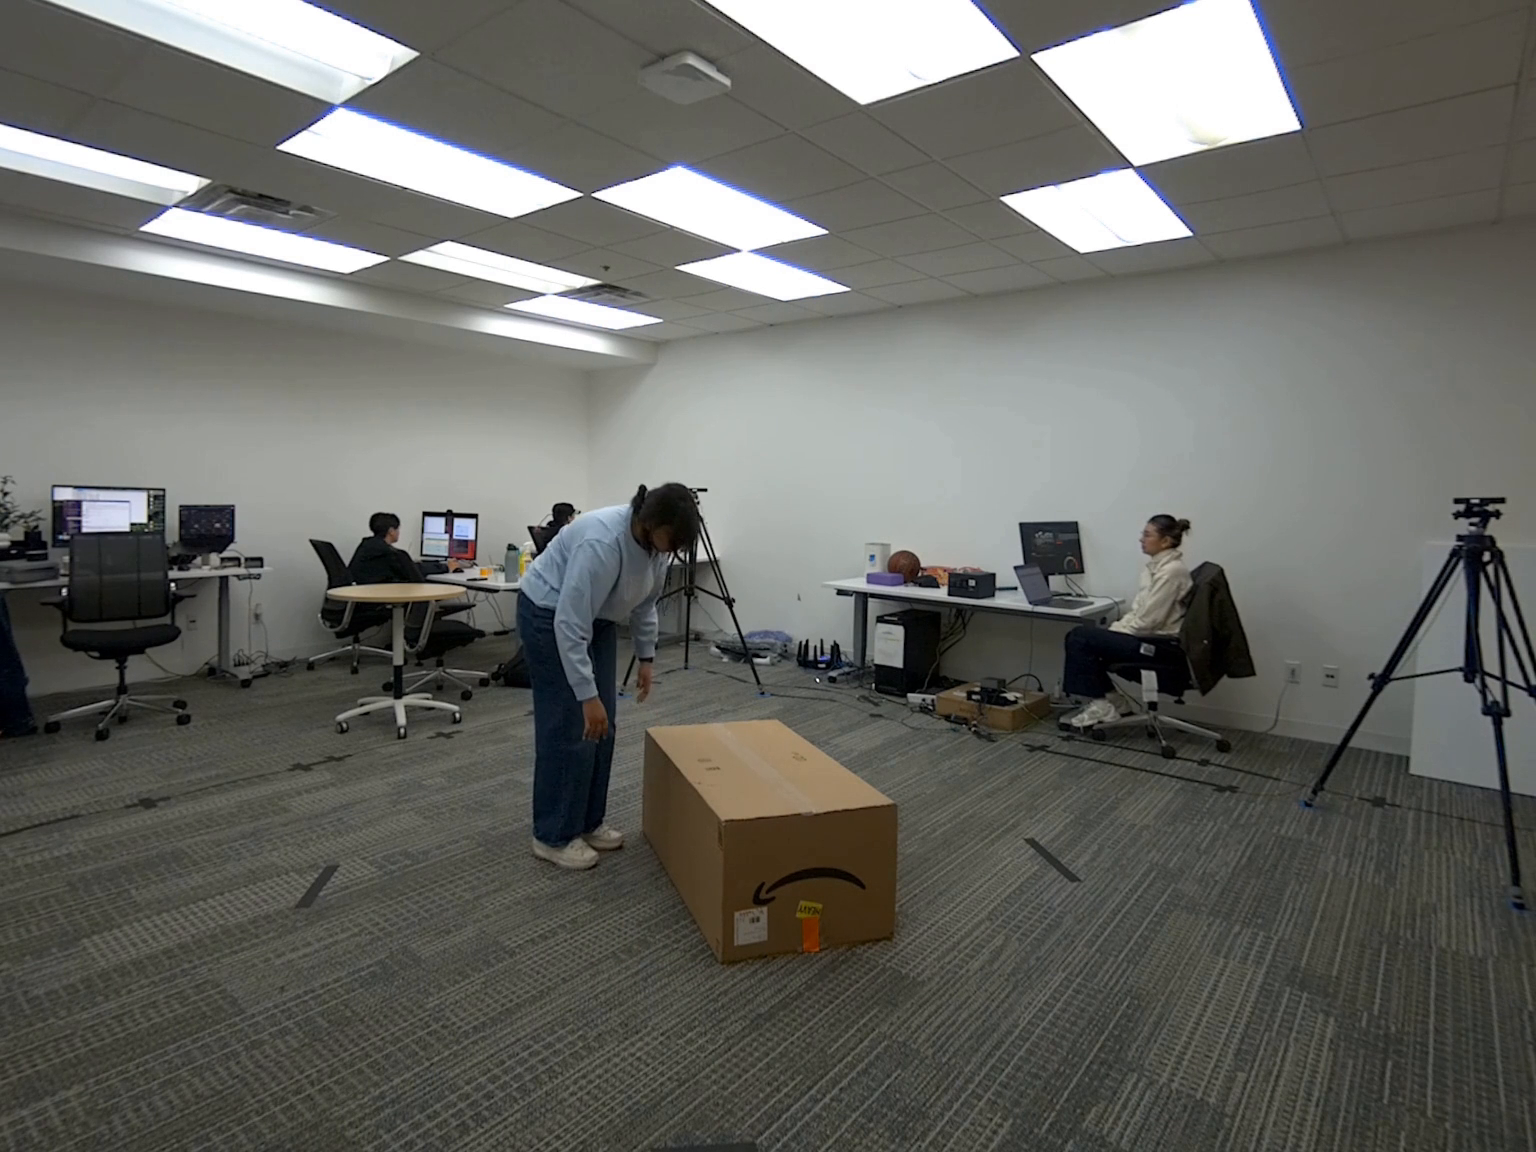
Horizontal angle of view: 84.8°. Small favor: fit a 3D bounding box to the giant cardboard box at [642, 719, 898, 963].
[{"bbox_3d":[-0.057,0.867,3.032,0.566,0.424,1.050,-1,5,-20],"label":"giant cardboard box"}]
